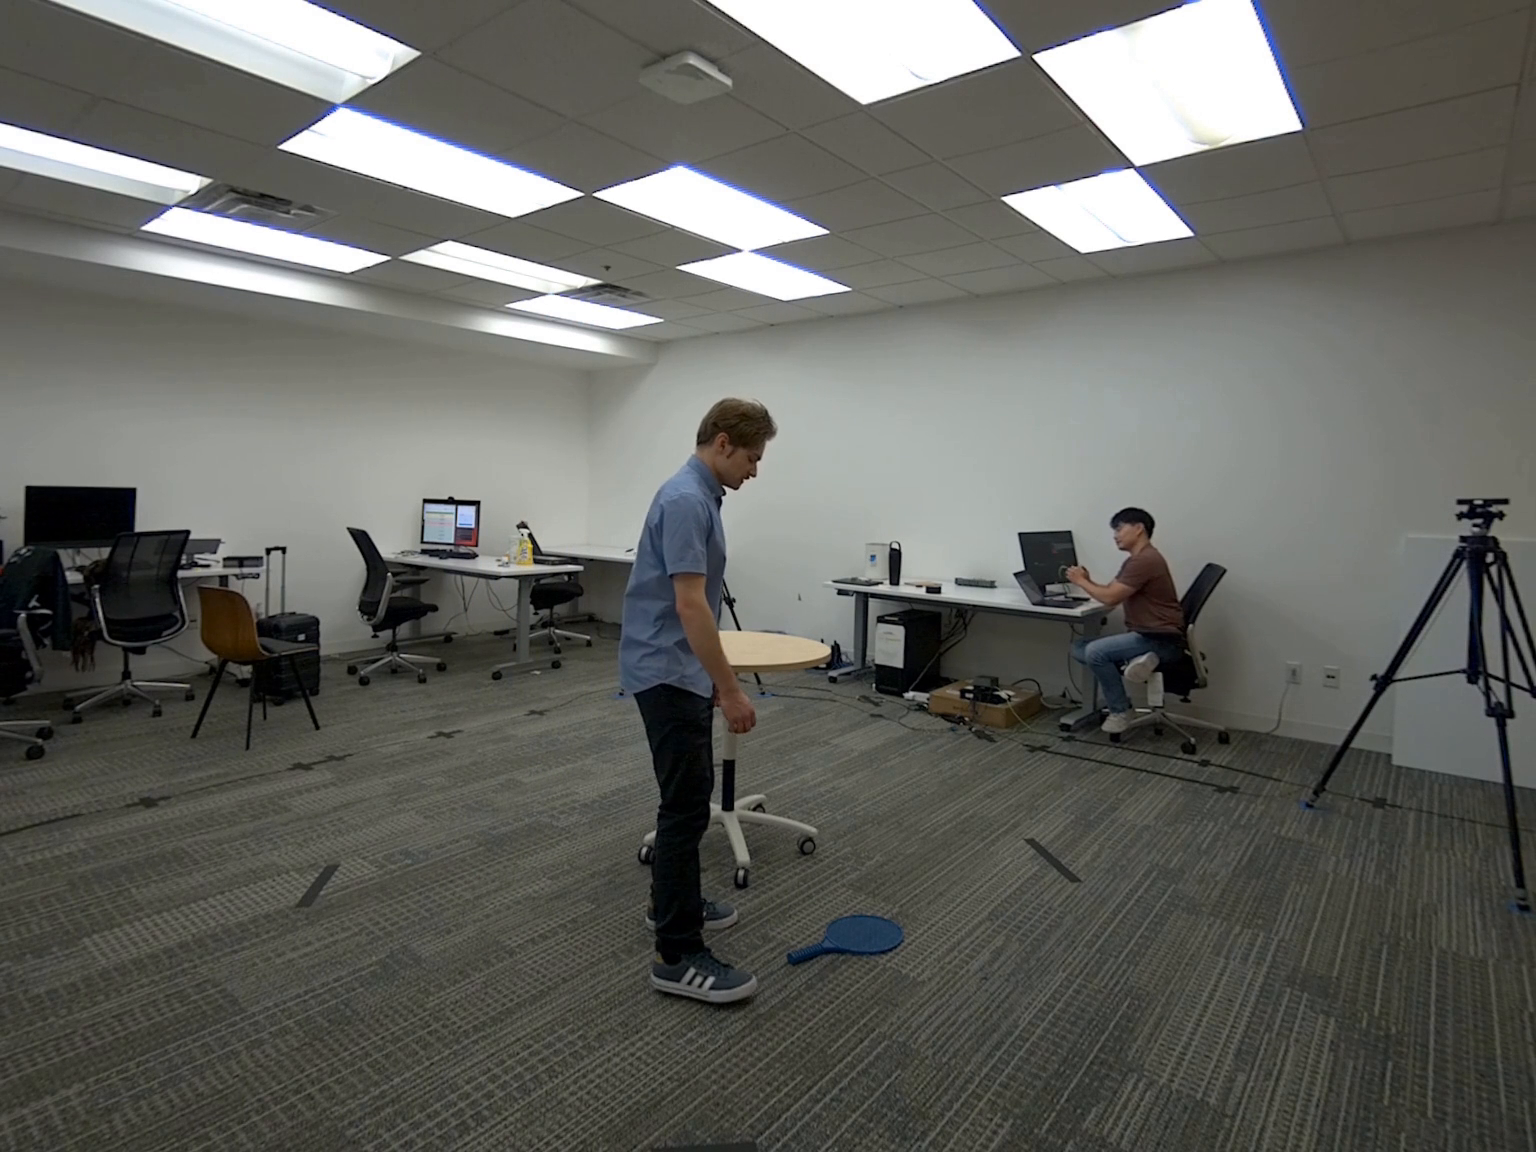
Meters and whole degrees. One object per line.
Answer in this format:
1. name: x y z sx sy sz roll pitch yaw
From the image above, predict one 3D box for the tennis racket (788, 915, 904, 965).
1. tennis racket: 0.235 1.115 2.619 0.420 0.031 0.221 -2 7 -37
